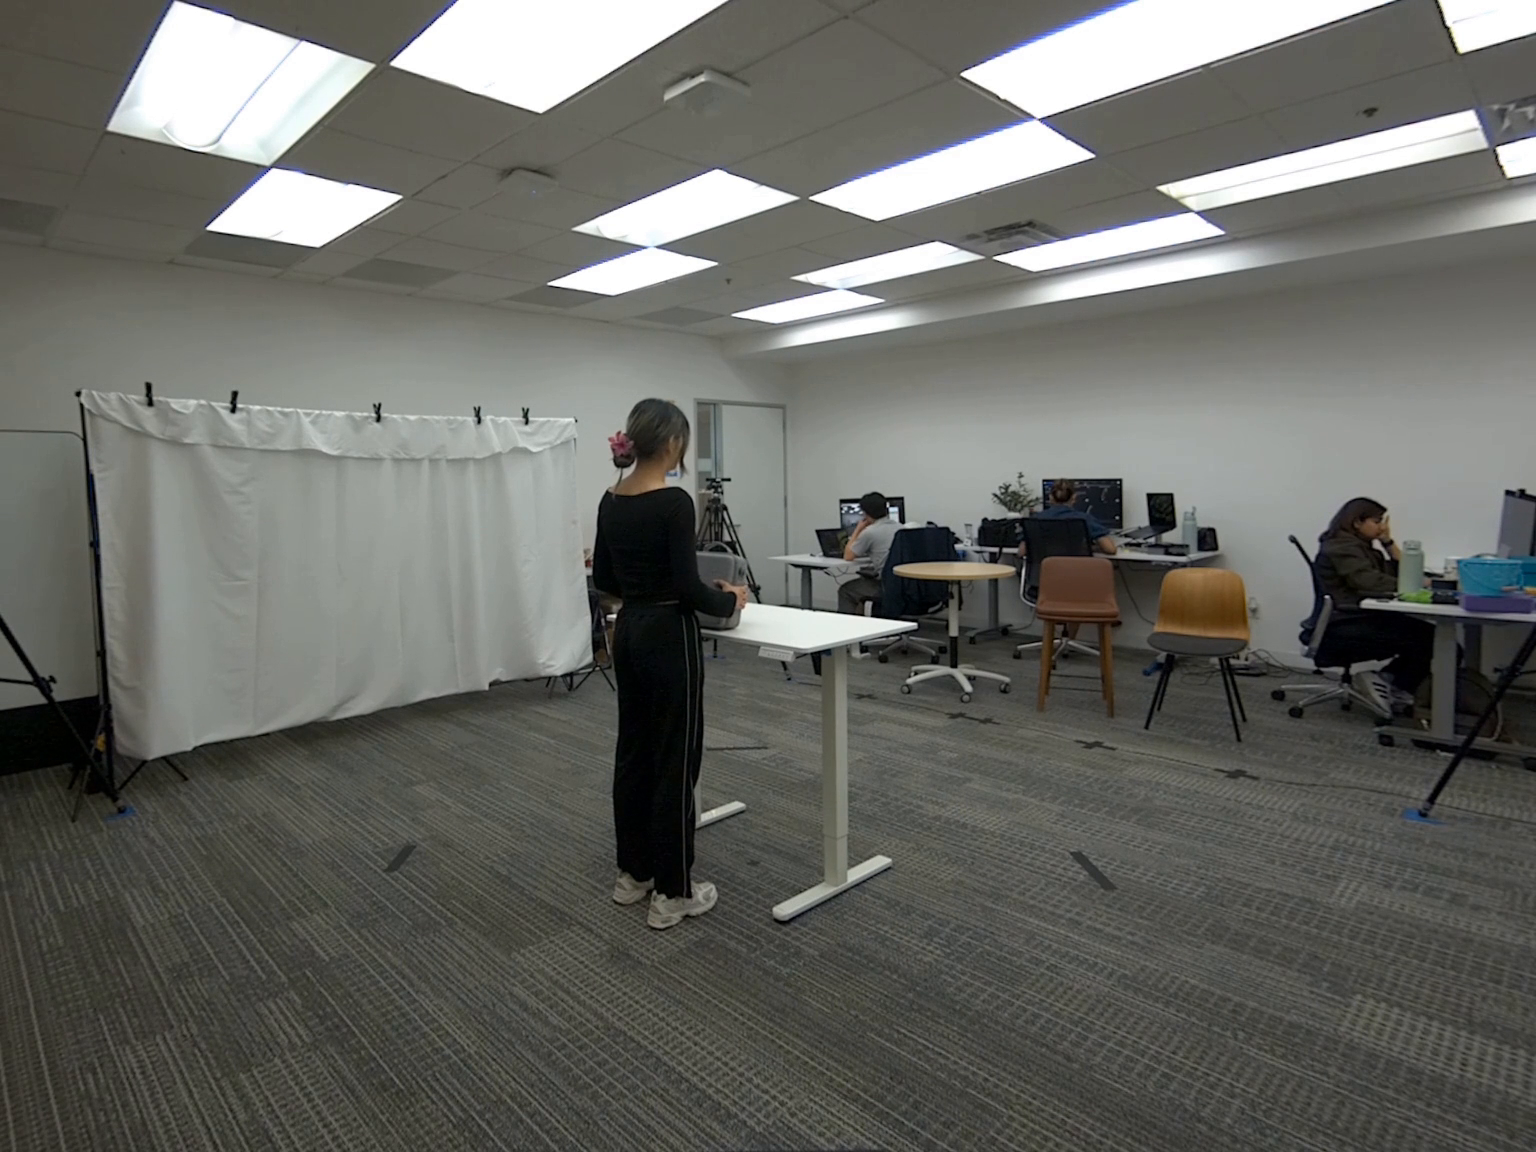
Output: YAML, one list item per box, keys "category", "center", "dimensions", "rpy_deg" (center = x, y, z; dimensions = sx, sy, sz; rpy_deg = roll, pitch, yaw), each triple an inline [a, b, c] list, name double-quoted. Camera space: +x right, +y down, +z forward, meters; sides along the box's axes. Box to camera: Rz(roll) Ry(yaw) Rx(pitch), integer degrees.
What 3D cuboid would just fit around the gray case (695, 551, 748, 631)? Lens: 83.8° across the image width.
- category: "gray case"
  center: [-0.205, 0.044, 2.973]
  dimensions: [0.265, 0.261, 0.101]
  rpy_deg: [4, -6, 42]
